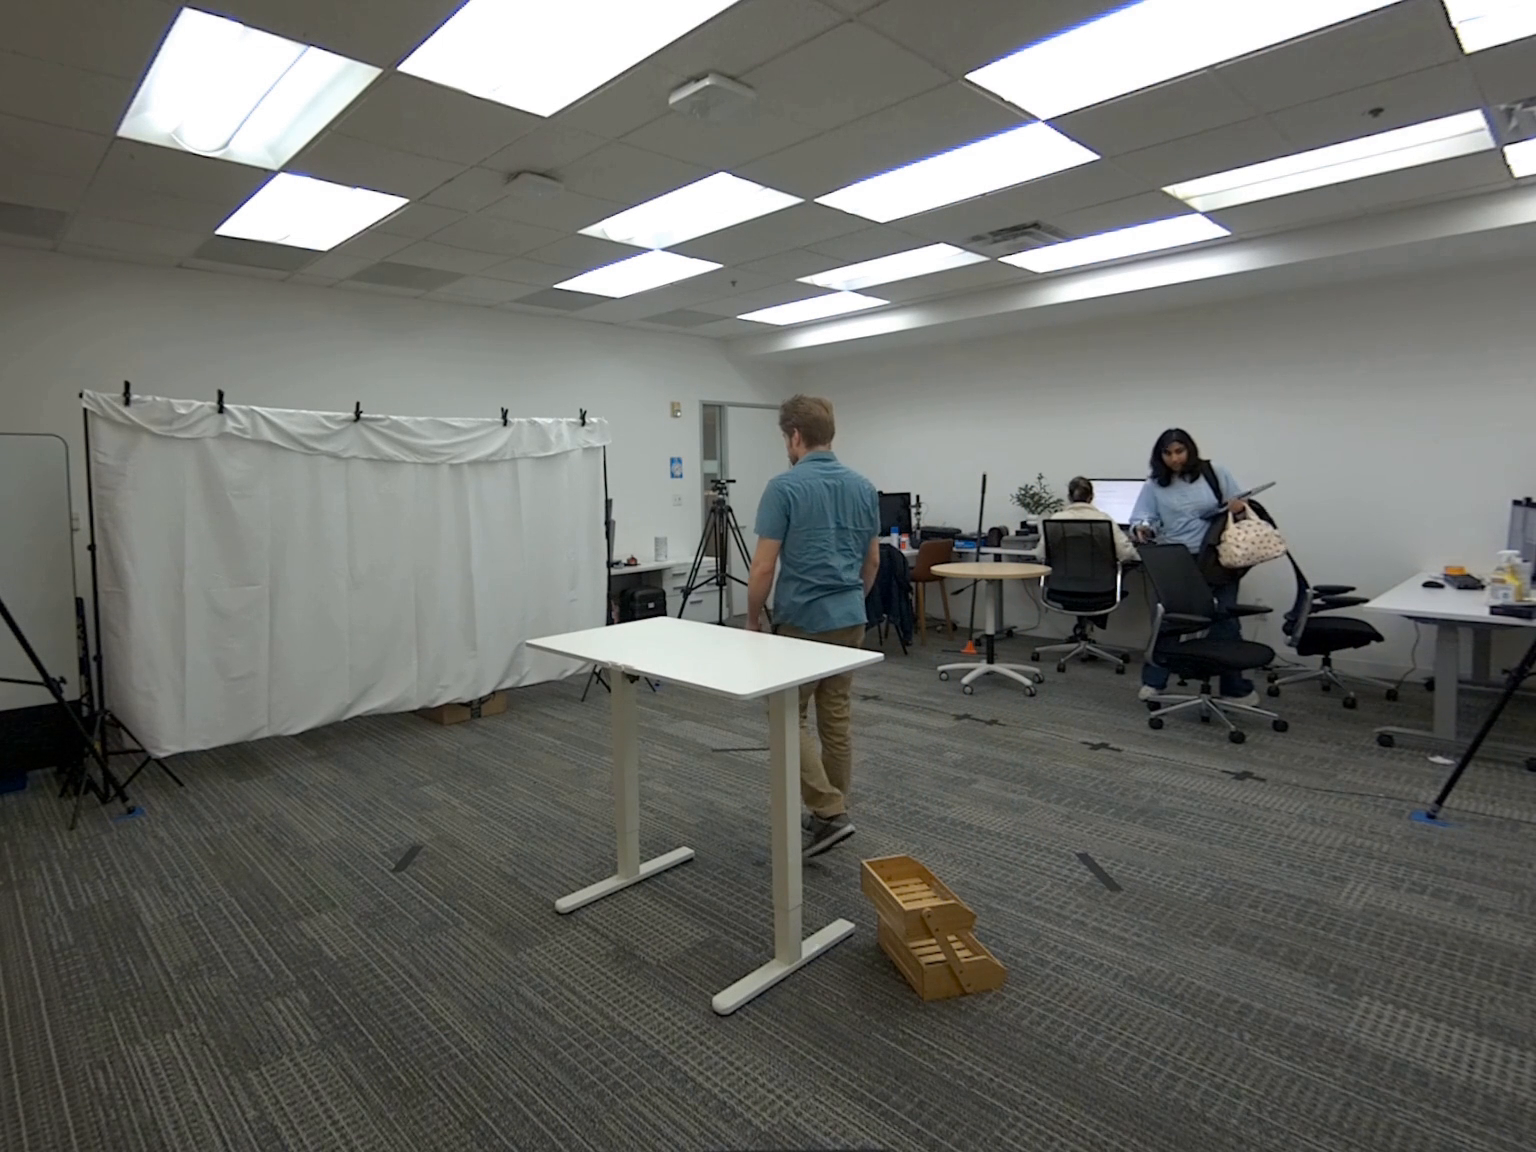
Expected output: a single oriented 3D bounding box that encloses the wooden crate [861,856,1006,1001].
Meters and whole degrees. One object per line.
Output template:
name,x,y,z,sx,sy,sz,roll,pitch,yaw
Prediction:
wooden crate,0.472,0.980,2.438,0.298,0.272,0.330,-4,6,-16
